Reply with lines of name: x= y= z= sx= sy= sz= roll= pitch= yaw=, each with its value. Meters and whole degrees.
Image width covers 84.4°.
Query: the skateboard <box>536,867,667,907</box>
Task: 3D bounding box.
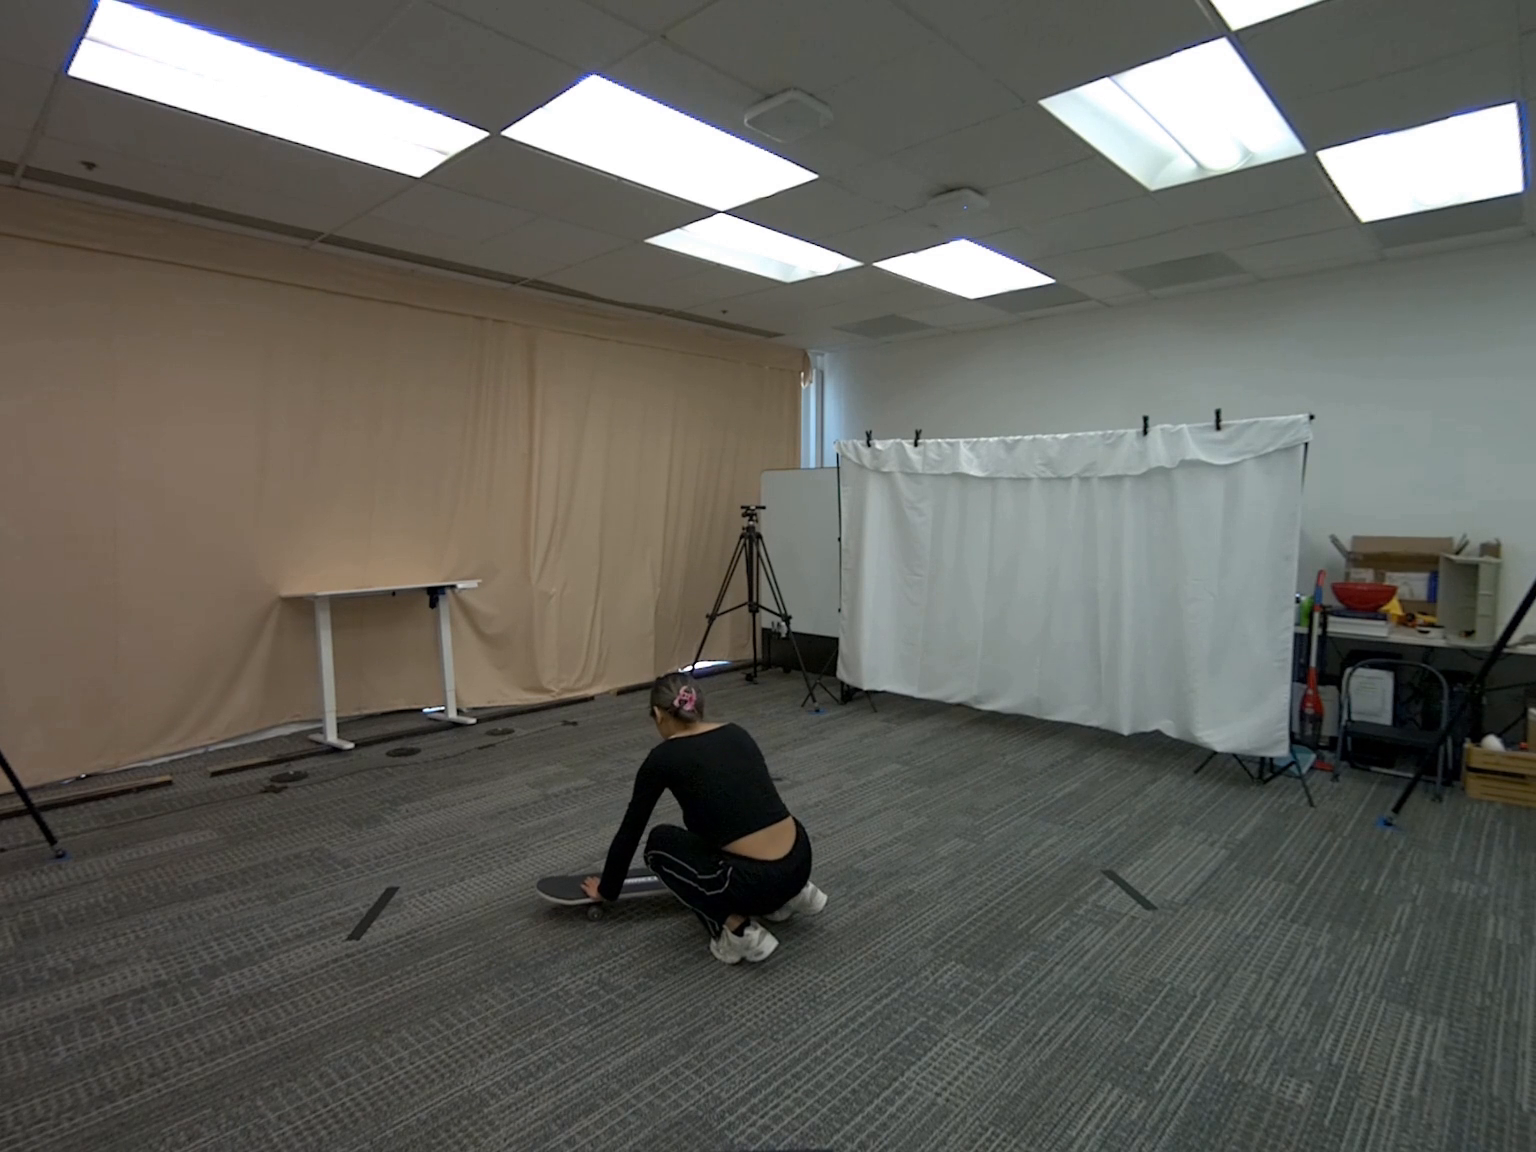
skateboard: x=-0.408 y=1.093 z=2.942 sx=0.775 sy=0.110 sz=0.196 roll=0 pitch=3 yaw=-12
